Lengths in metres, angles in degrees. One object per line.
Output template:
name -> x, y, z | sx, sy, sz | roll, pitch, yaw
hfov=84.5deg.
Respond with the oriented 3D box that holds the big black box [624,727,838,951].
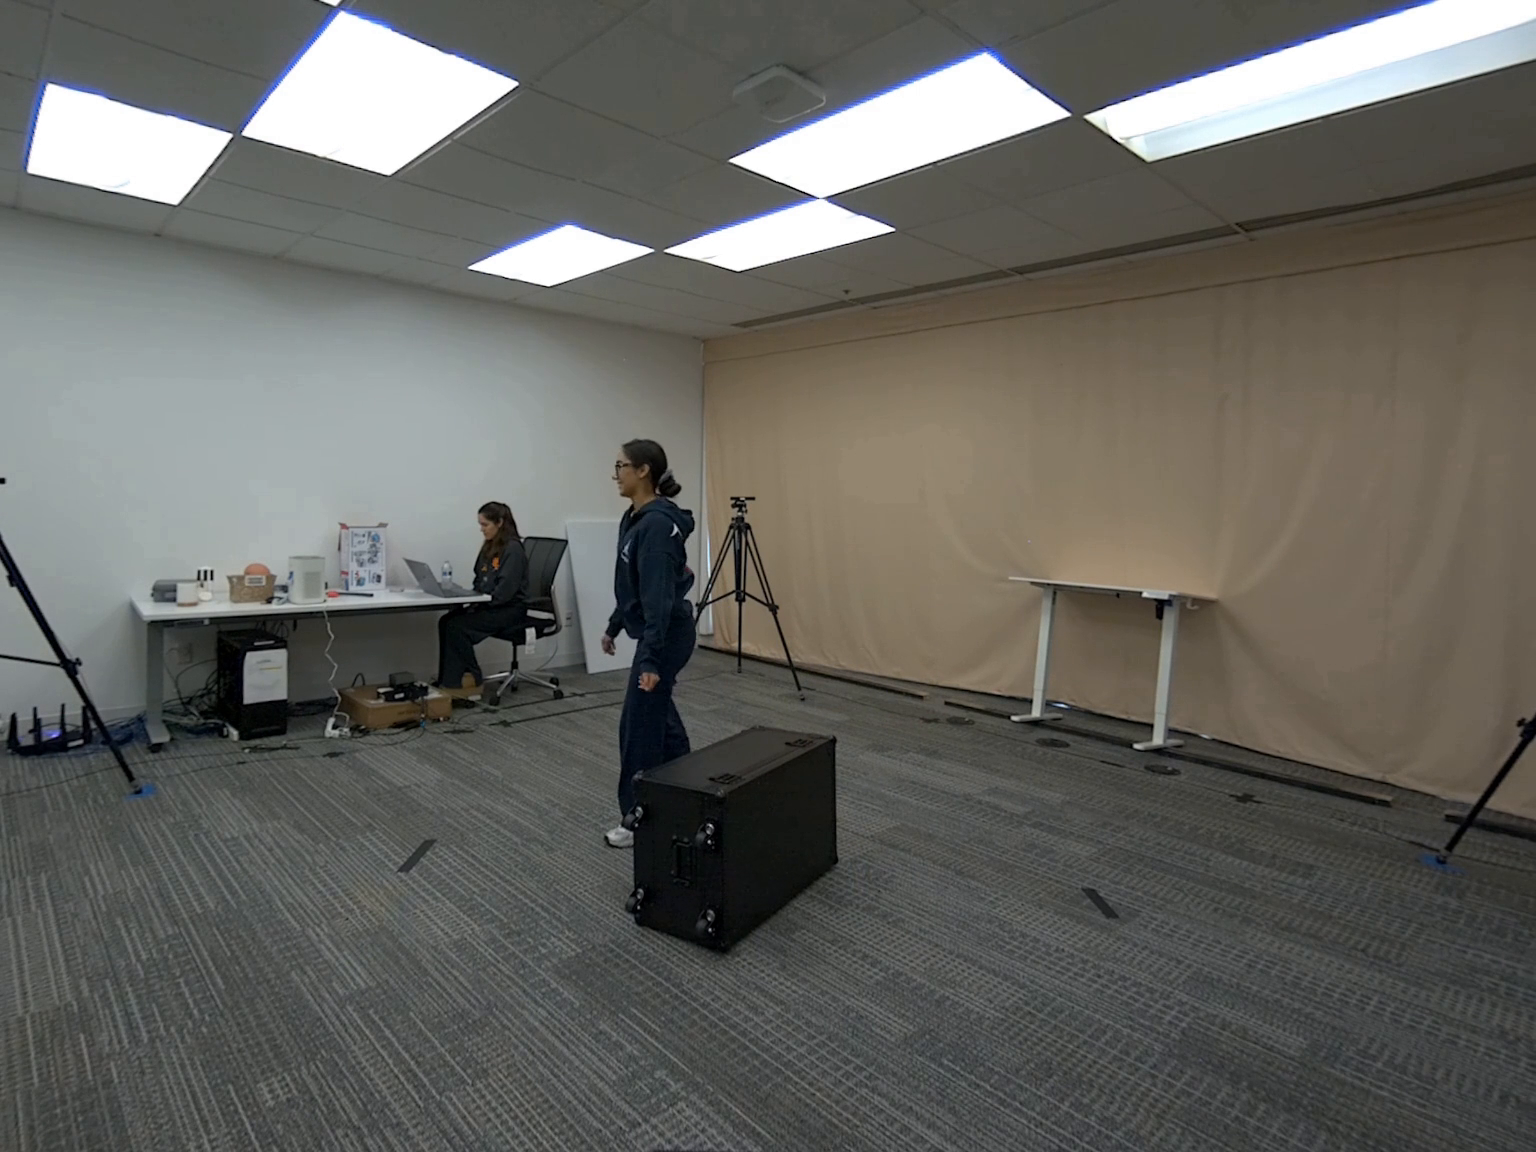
big black box -> -0.120, 0.867, 2.938 | 0.405, 0.520, 0.845 | 0, 3, 30
